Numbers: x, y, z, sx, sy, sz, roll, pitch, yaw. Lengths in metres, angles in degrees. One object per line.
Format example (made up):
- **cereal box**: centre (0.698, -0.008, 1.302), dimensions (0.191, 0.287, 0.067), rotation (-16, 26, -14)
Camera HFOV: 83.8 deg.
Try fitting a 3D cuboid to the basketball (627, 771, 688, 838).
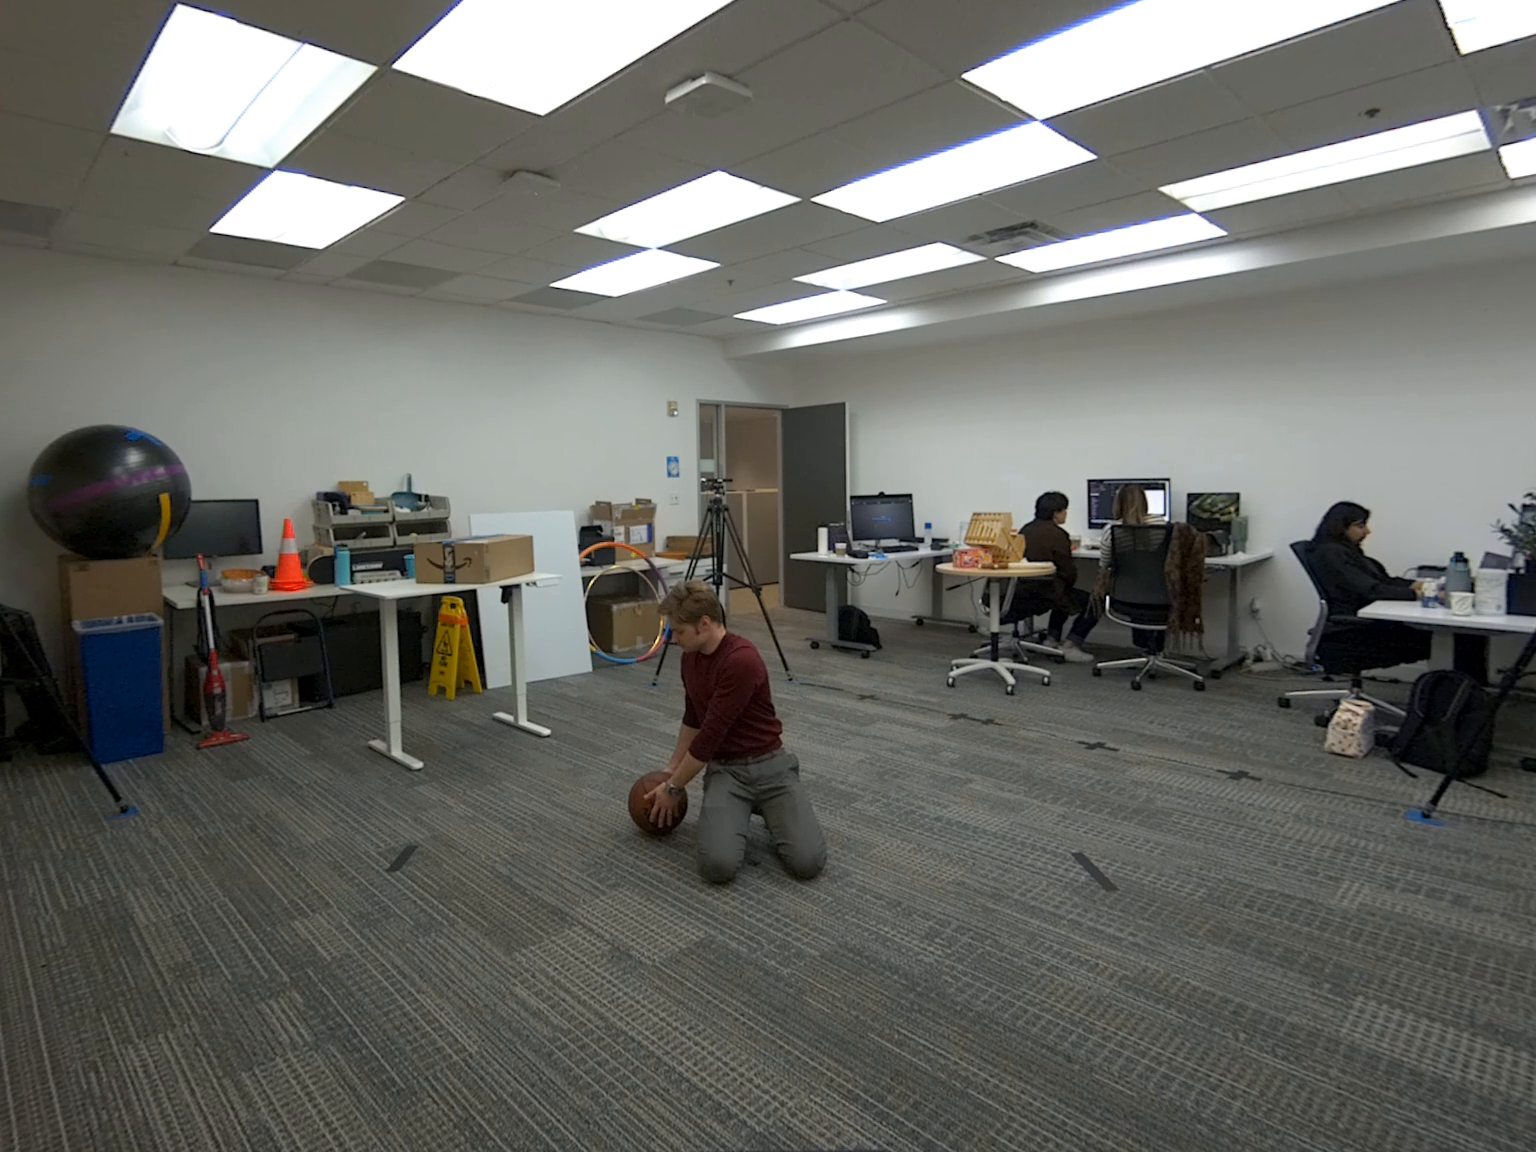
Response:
- **basketball**: centre (-0.436, 0.895, 3.388), dimensions (0.236, 0.235, 0.237), rotation (-1, 5, -2)
